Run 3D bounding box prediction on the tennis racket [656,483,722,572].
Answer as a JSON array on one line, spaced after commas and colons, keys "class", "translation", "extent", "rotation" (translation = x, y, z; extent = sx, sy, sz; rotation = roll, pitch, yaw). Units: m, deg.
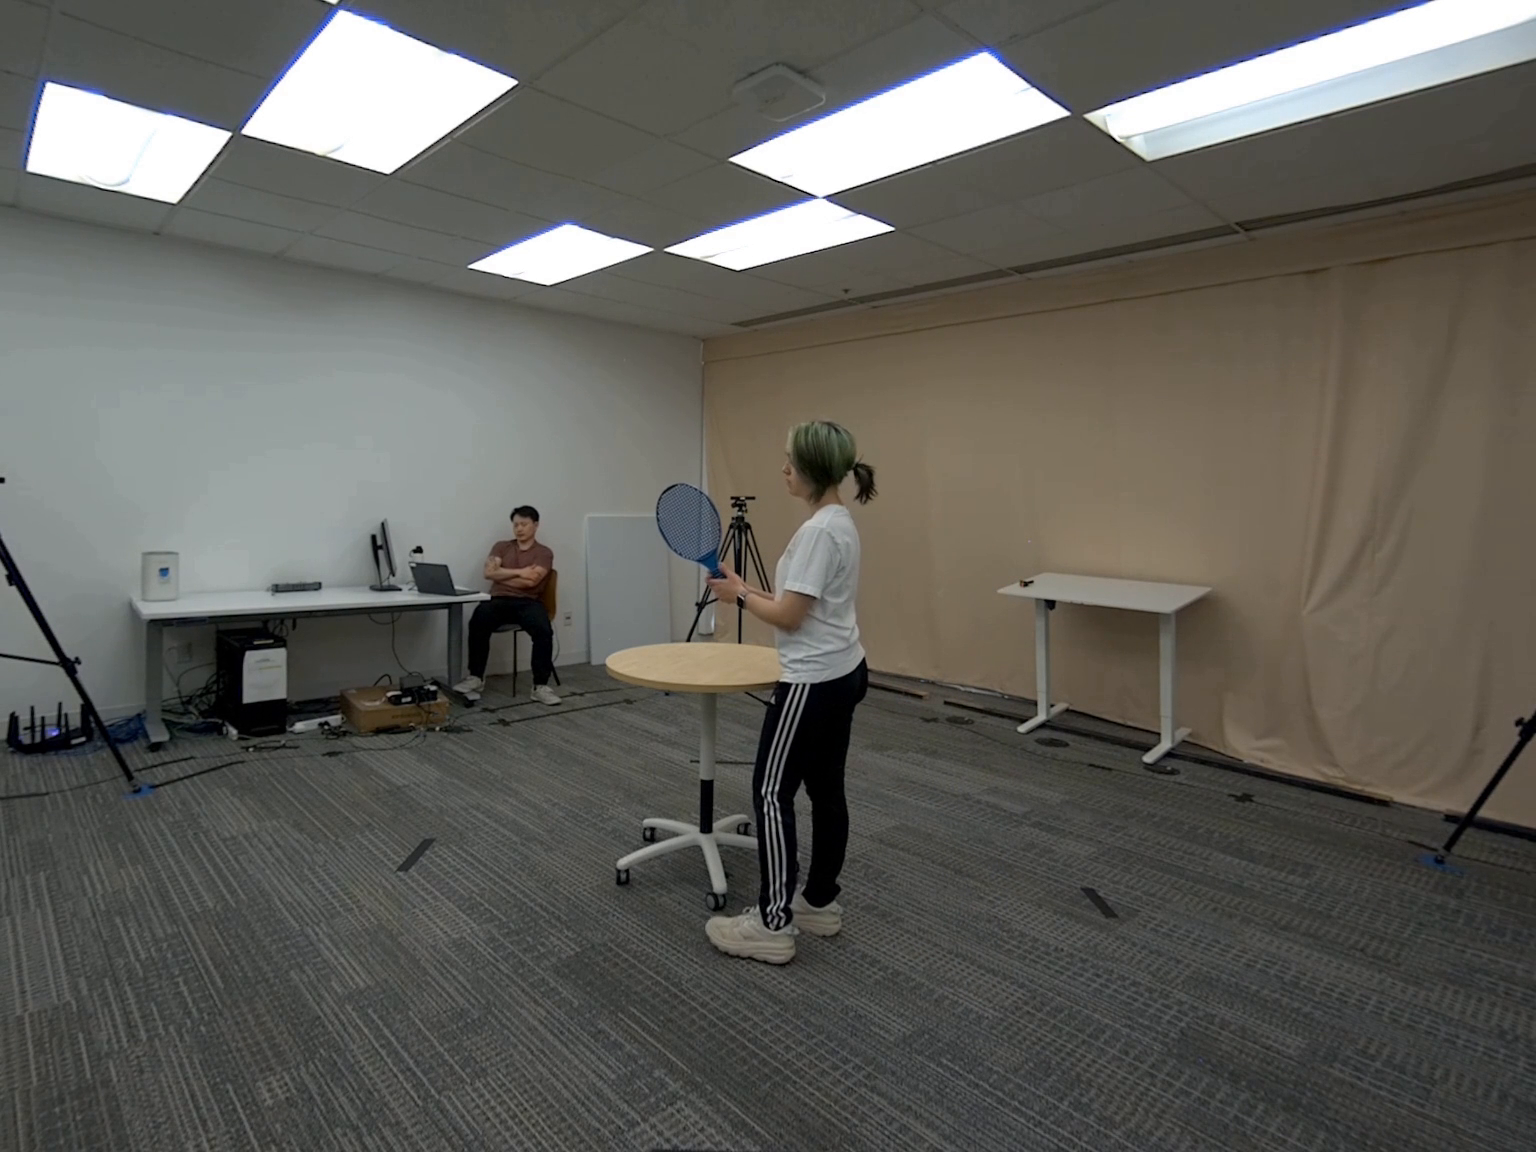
[{"class": "tennis racket", "translation": [-0.216, -0.111, 2.749], "extent": [0.214, 0.436, 0.031], "rotation": [-37, -8, 19]}]
